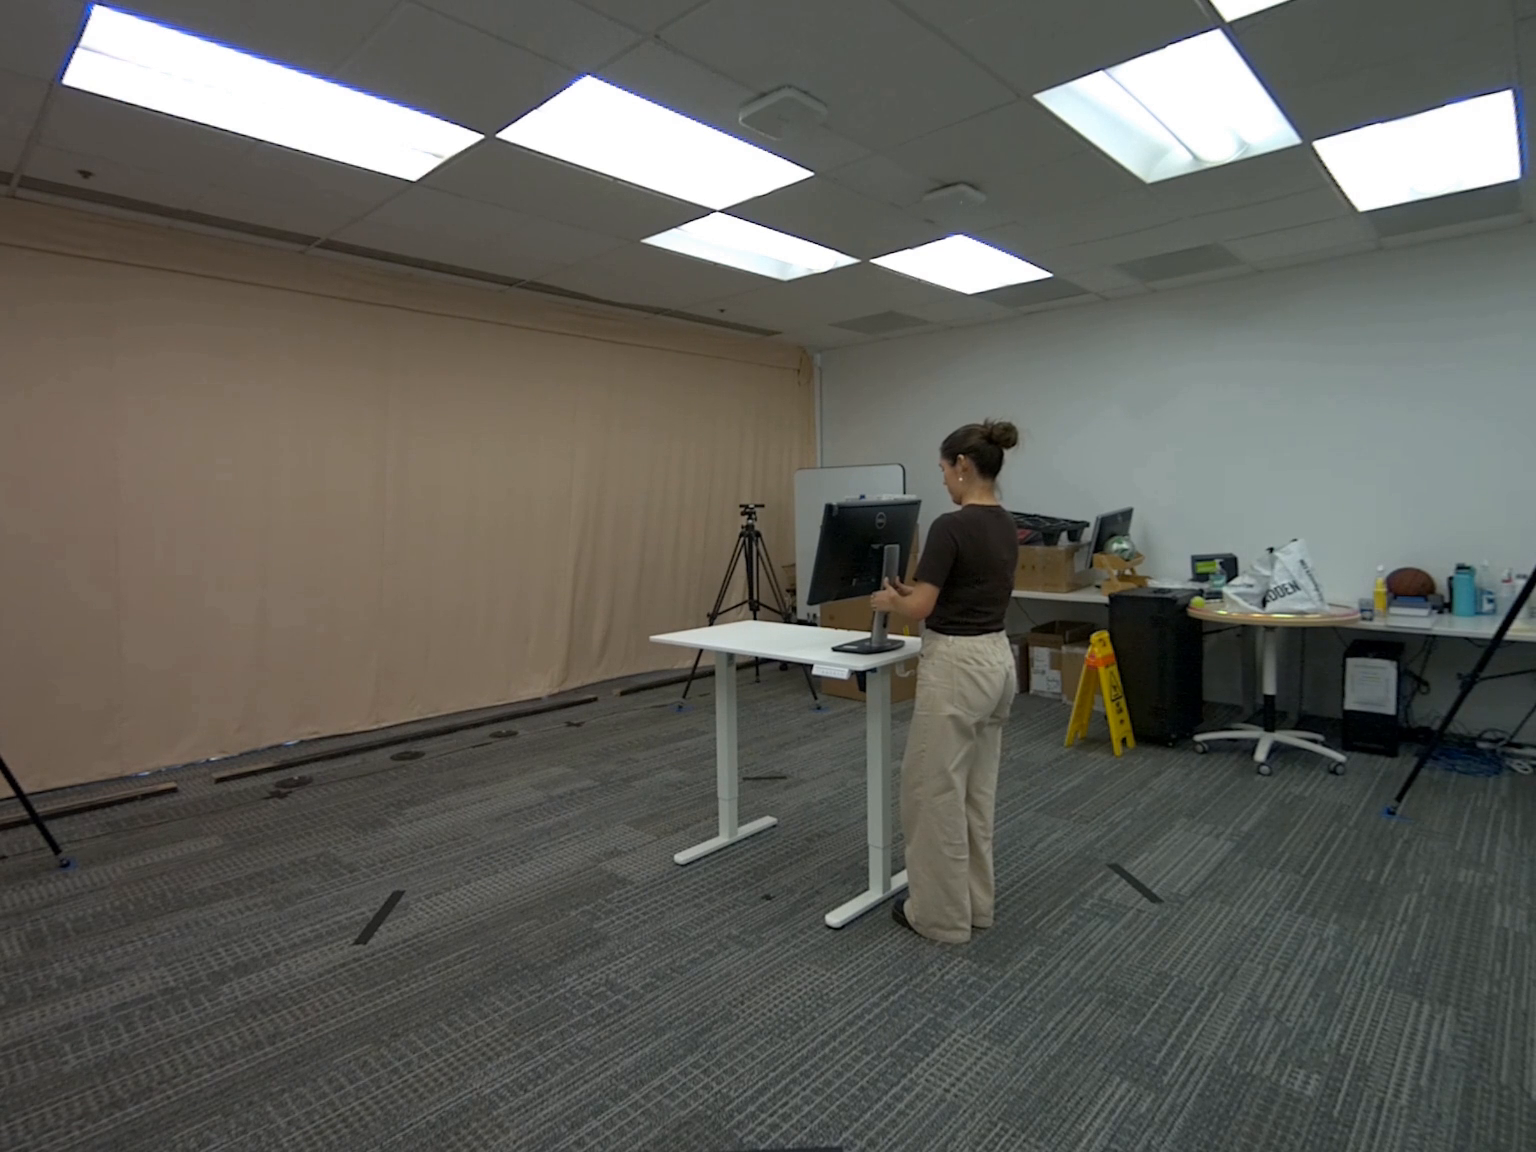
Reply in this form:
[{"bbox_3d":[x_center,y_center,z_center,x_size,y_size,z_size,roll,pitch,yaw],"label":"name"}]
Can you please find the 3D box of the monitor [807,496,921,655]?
[{"bbox_3d":[0.373,0.000,2.928,0.193,0.521,0.523,4,7,42],"label":"monitor"}]
